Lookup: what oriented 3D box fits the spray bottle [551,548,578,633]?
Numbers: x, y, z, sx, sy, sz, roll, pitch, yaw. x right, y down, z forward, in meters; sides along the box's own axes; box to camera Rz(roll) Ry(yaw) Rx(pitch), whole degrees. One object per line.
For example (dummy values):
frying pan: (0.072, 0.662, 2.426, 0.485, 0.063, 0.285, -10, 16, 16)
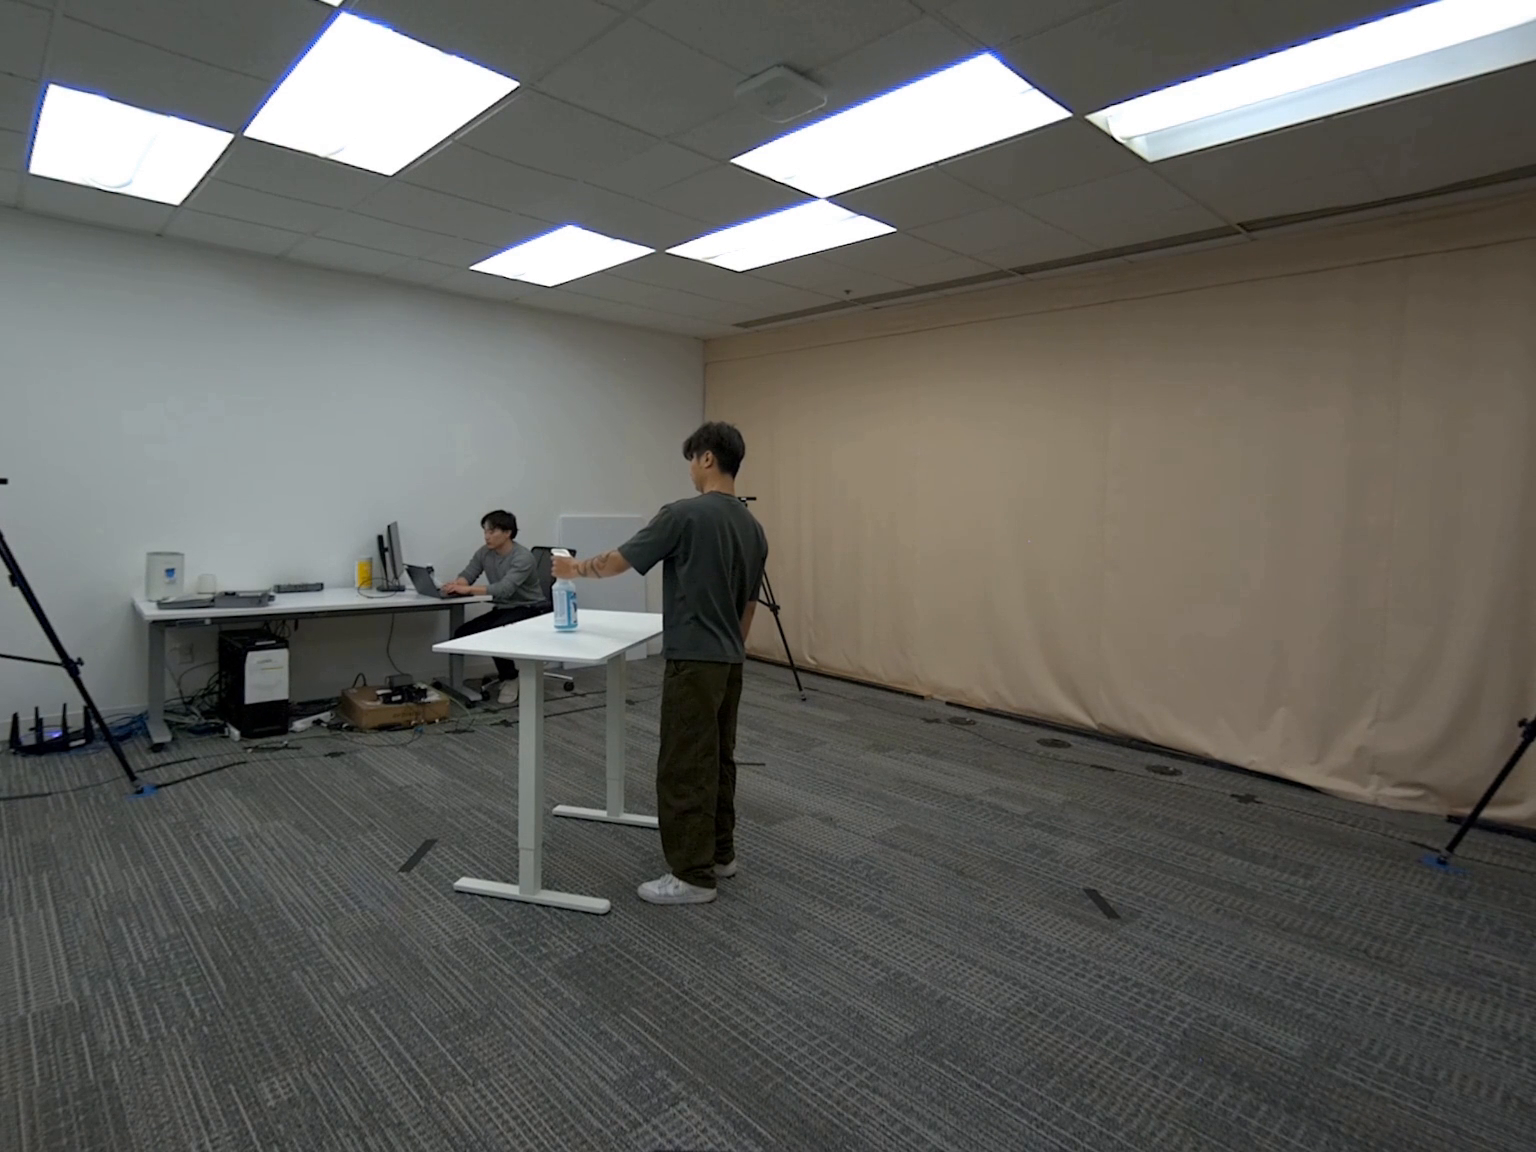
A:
spray bottle: (-0.761, 0.050, 3.135, 0.085, 0.297, 0.092, -3, 2, -32)
